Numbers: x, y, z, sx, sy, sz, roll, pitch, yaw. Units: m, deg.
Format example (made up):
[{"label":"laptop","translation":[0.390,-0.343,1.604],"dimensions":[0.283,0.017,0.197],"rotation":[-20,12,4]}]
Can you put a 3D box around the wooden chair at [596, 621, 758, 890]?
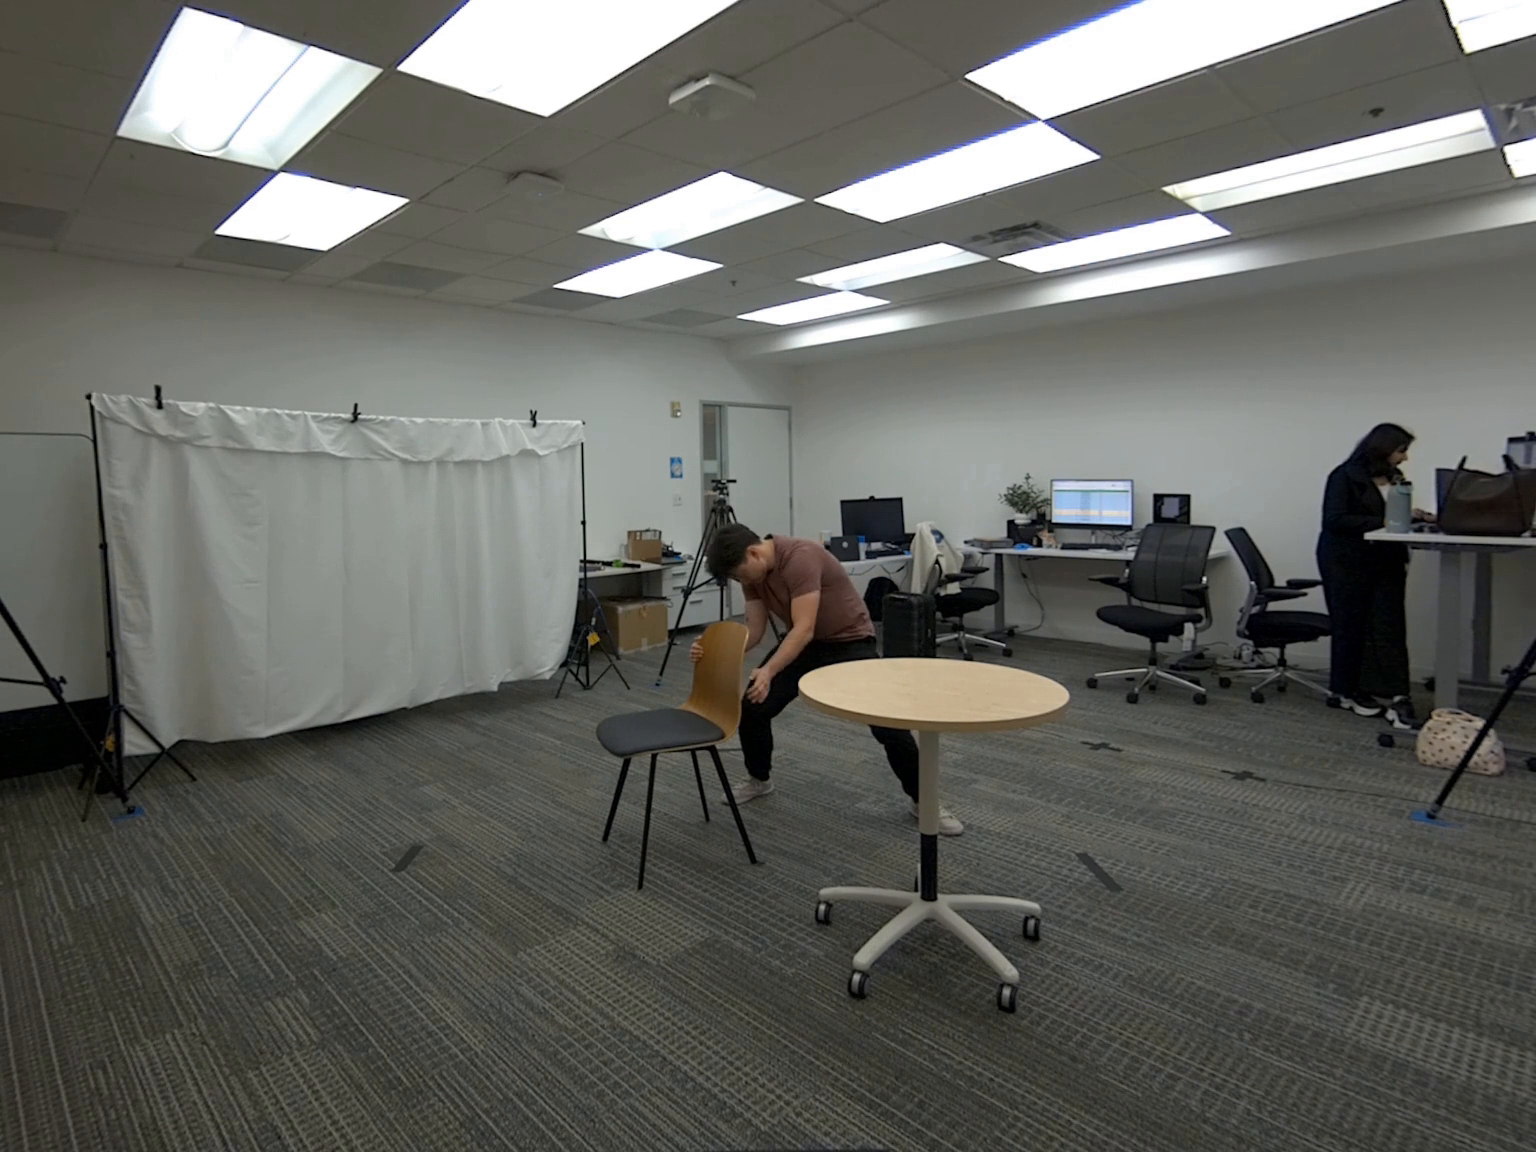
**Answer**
[{"label":"wooden chair","translation":[-0.354,0.616,3.179],"dimensions":[0.511,0.875,0.490],"rotation":[2,3,-26]}]
